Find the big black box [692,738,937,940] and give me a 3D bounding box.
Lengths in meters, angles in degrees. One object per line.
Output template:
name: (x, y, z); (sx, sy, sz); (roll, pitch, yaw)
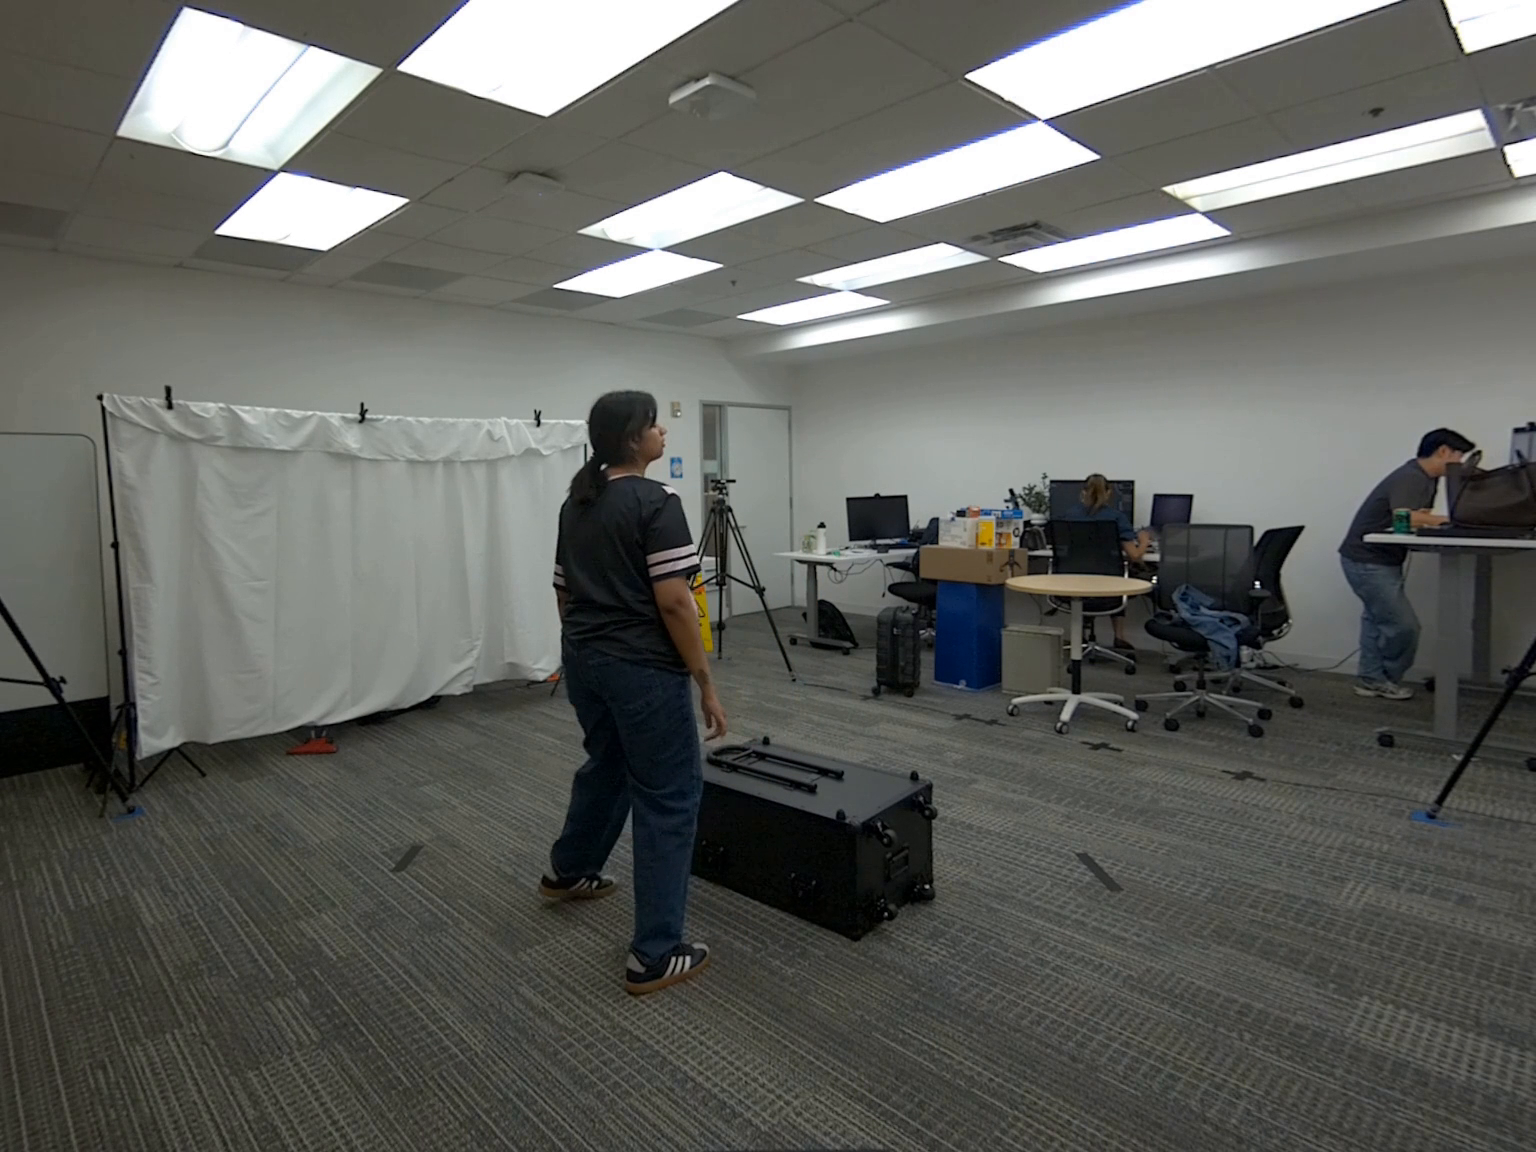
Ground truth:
big black box: (0.145, 0.873, 2.981); (0.895, 0.384, 0.509); (4, 6, 40)
